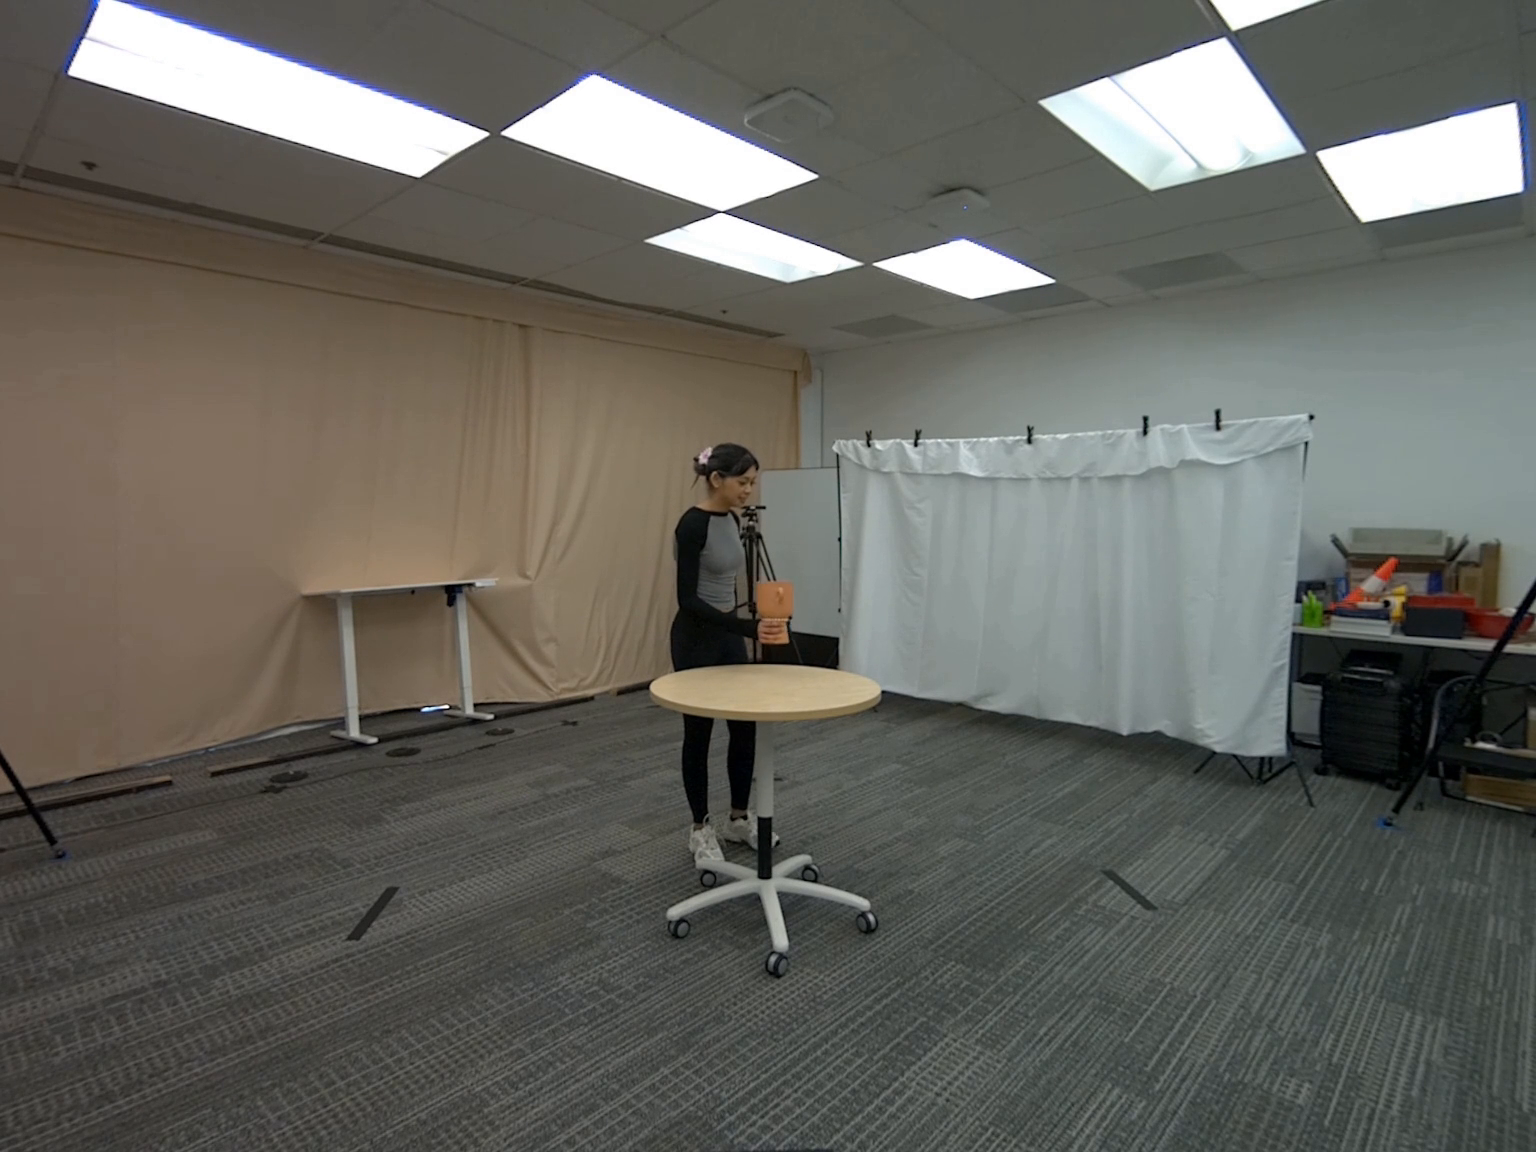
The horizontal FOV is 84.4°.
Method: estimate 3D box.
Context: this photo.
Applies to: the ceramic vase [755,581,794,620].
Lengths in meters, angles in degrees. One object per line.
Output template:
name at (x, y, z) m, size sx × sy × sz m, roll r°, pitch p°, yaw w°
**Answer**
ceramic vase at (0.027, 0.132, 3.025) m, size 0.138 × 0.220 × 0.154 m, roll -1°, pitch -2°, yaw 27°
